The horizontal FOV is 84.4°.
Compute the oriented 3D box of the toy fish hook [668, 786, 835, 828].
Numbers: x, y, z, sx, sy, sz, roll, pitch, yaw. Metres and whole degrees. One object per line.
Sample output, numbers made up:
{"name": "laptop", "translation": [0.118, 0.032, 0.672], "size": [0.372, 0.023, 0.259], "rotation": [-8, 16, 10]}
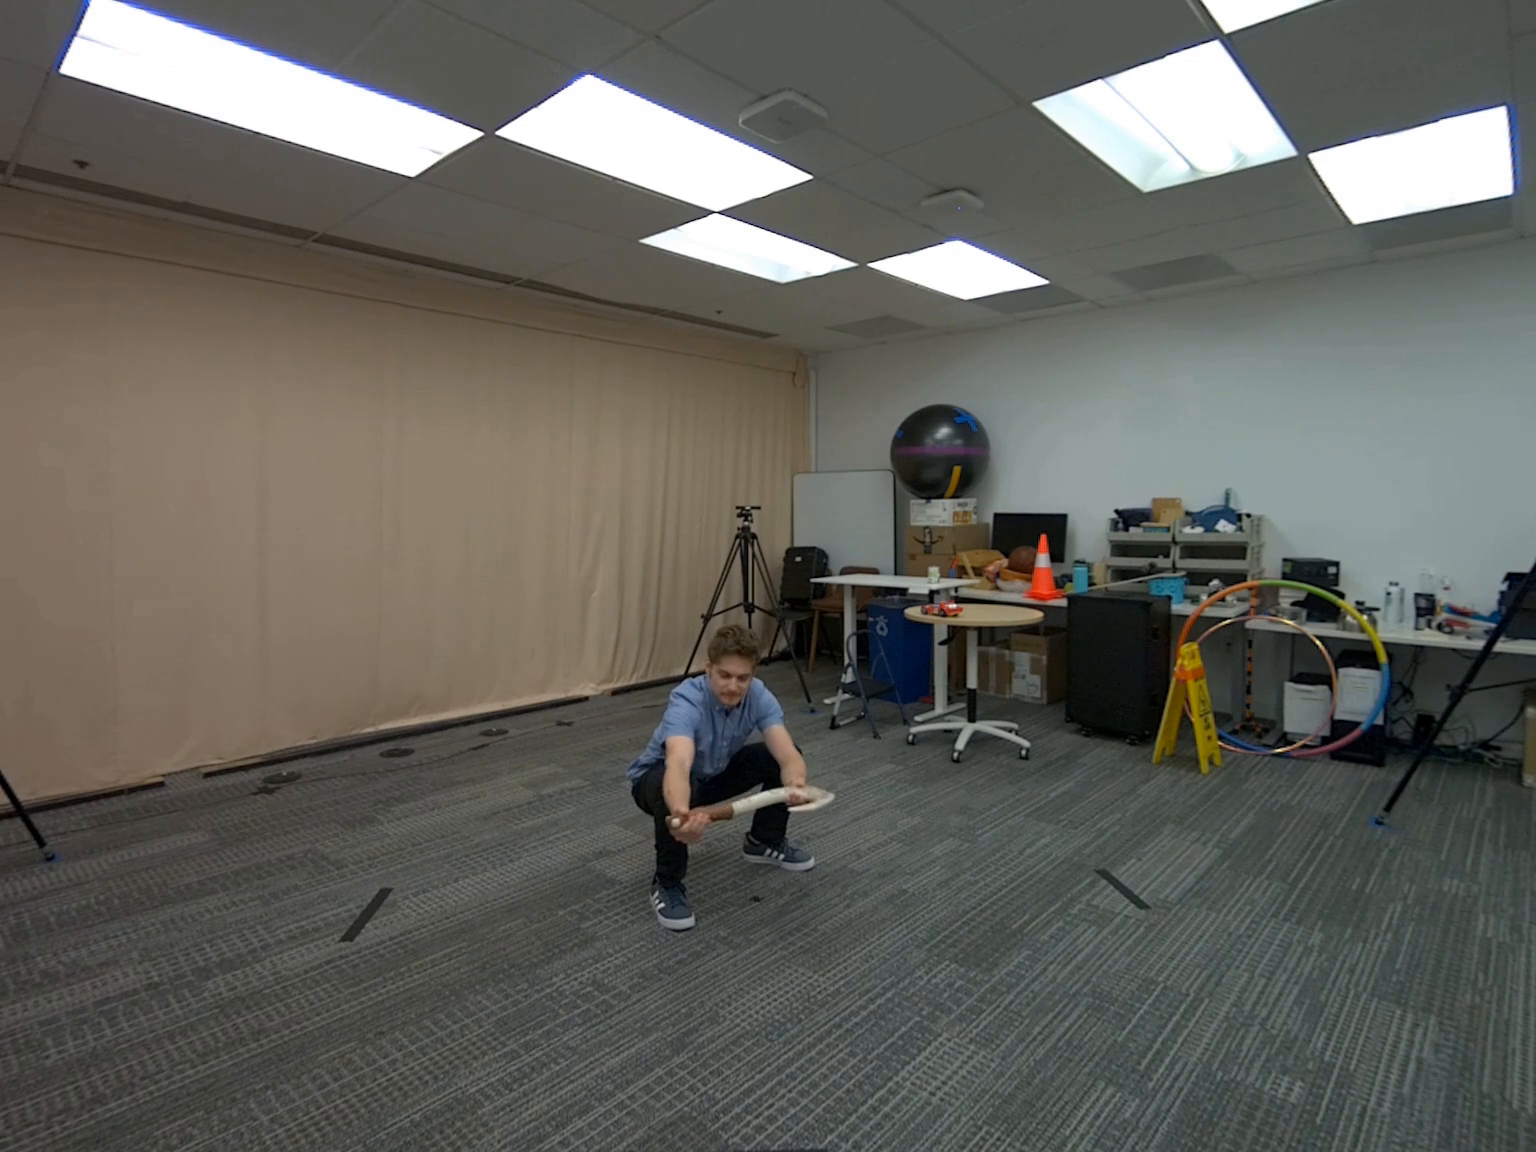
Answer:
{"name": "toy fish hook", "translation": [-0.034, 0.651, 2.377], "size": [0.492, 0.048, 0.230], "rotation": [-3, -6, -34]}
